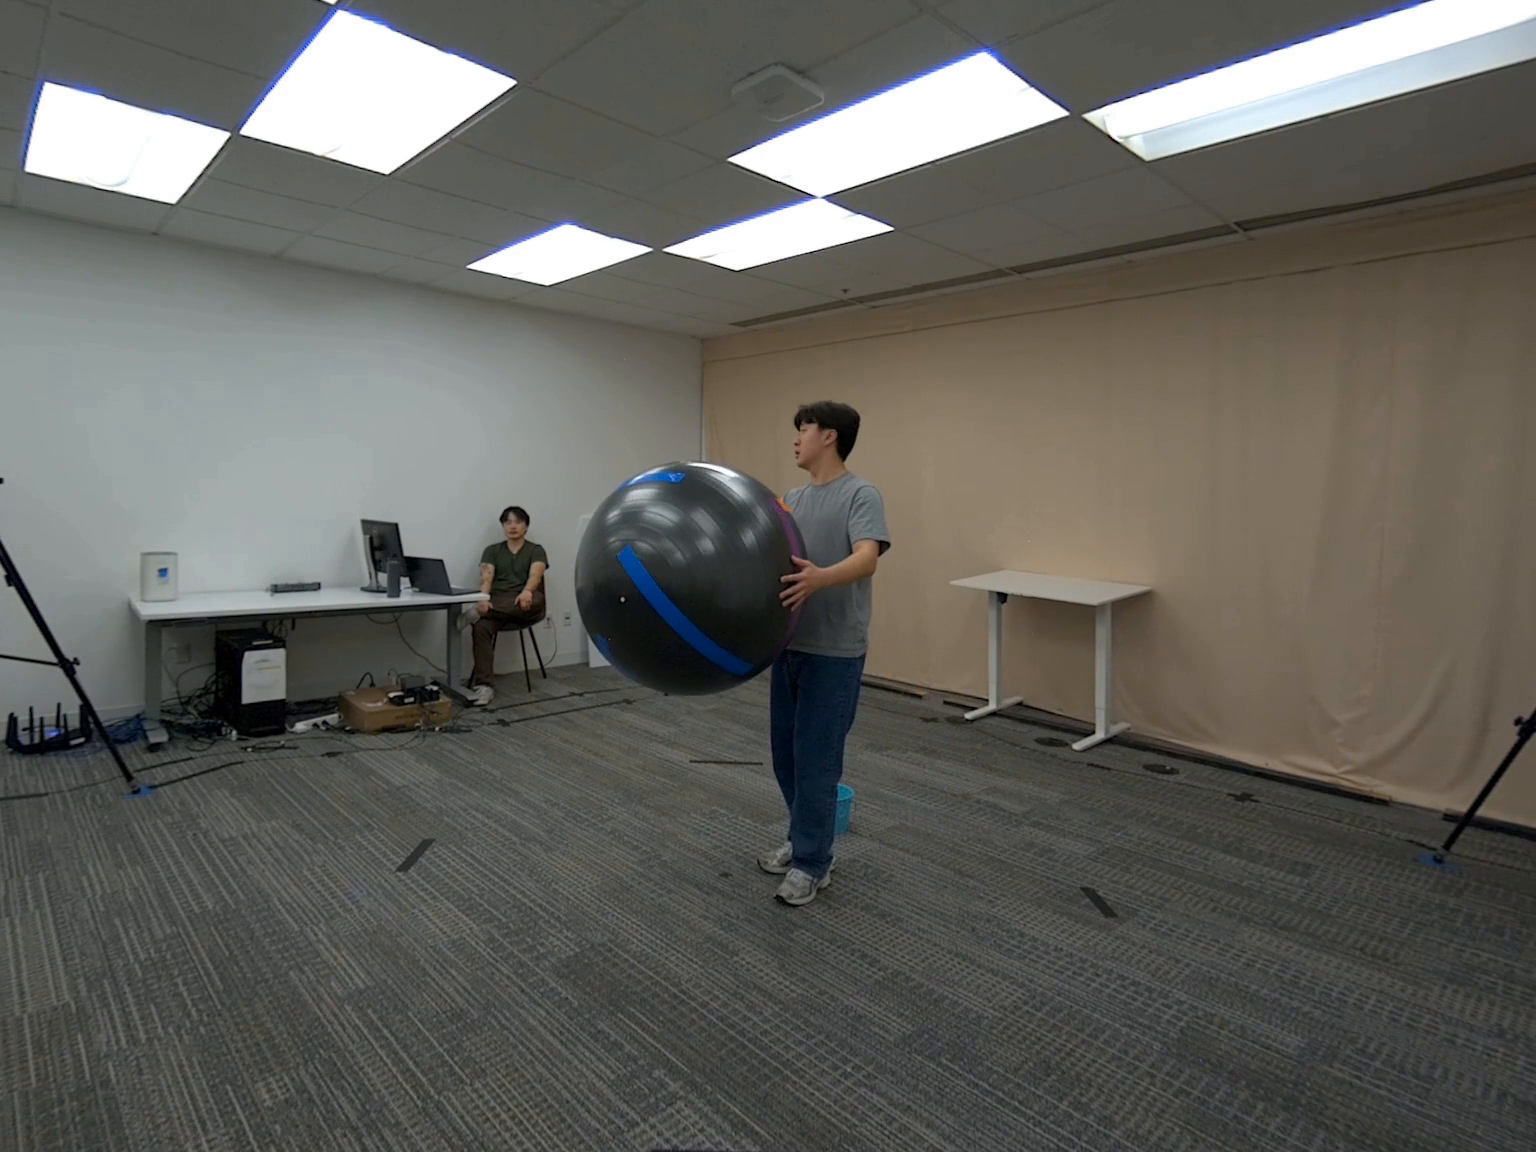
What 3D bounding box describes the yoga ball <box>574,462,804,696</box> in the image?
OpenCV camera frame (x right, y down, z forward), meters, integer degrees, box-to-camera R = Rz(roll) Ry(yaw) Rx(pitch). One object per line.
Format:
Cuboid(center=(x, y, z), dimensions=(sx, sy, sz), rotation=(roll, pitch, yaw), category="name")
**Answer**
Cuboid(center=(-0.250, 0.007, 2.732), dimensions=(0.757, 0.756, 0.761), rotation=(1, 4, -1), category="yoga ball")
